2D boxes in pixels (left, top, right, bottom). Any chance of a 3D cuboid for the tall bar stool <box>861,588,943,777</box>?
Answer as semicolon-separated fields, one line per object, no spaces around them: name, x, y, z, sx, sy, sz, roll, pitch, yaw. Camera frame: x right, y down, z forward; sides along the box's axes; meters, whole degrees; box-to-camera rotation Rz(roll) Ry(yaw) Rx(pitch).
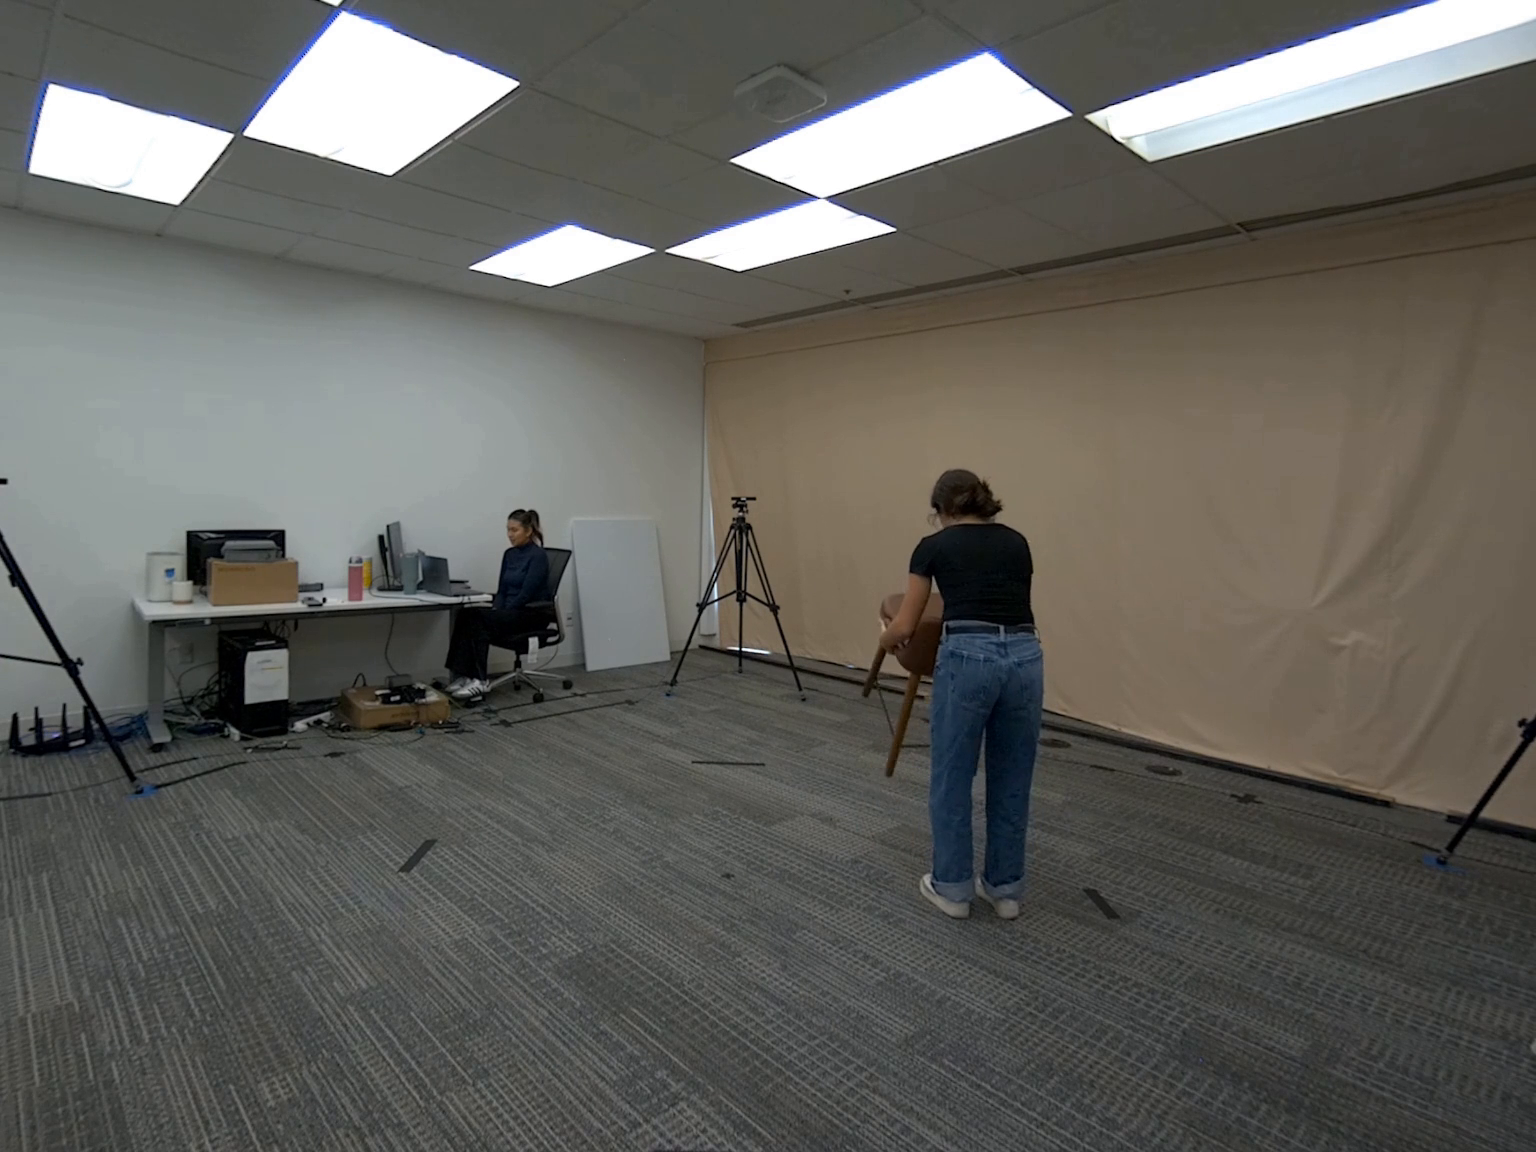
tall bar stool;0.673;0.343;3.297;0.454;0.872;0.479;0;41;-7
